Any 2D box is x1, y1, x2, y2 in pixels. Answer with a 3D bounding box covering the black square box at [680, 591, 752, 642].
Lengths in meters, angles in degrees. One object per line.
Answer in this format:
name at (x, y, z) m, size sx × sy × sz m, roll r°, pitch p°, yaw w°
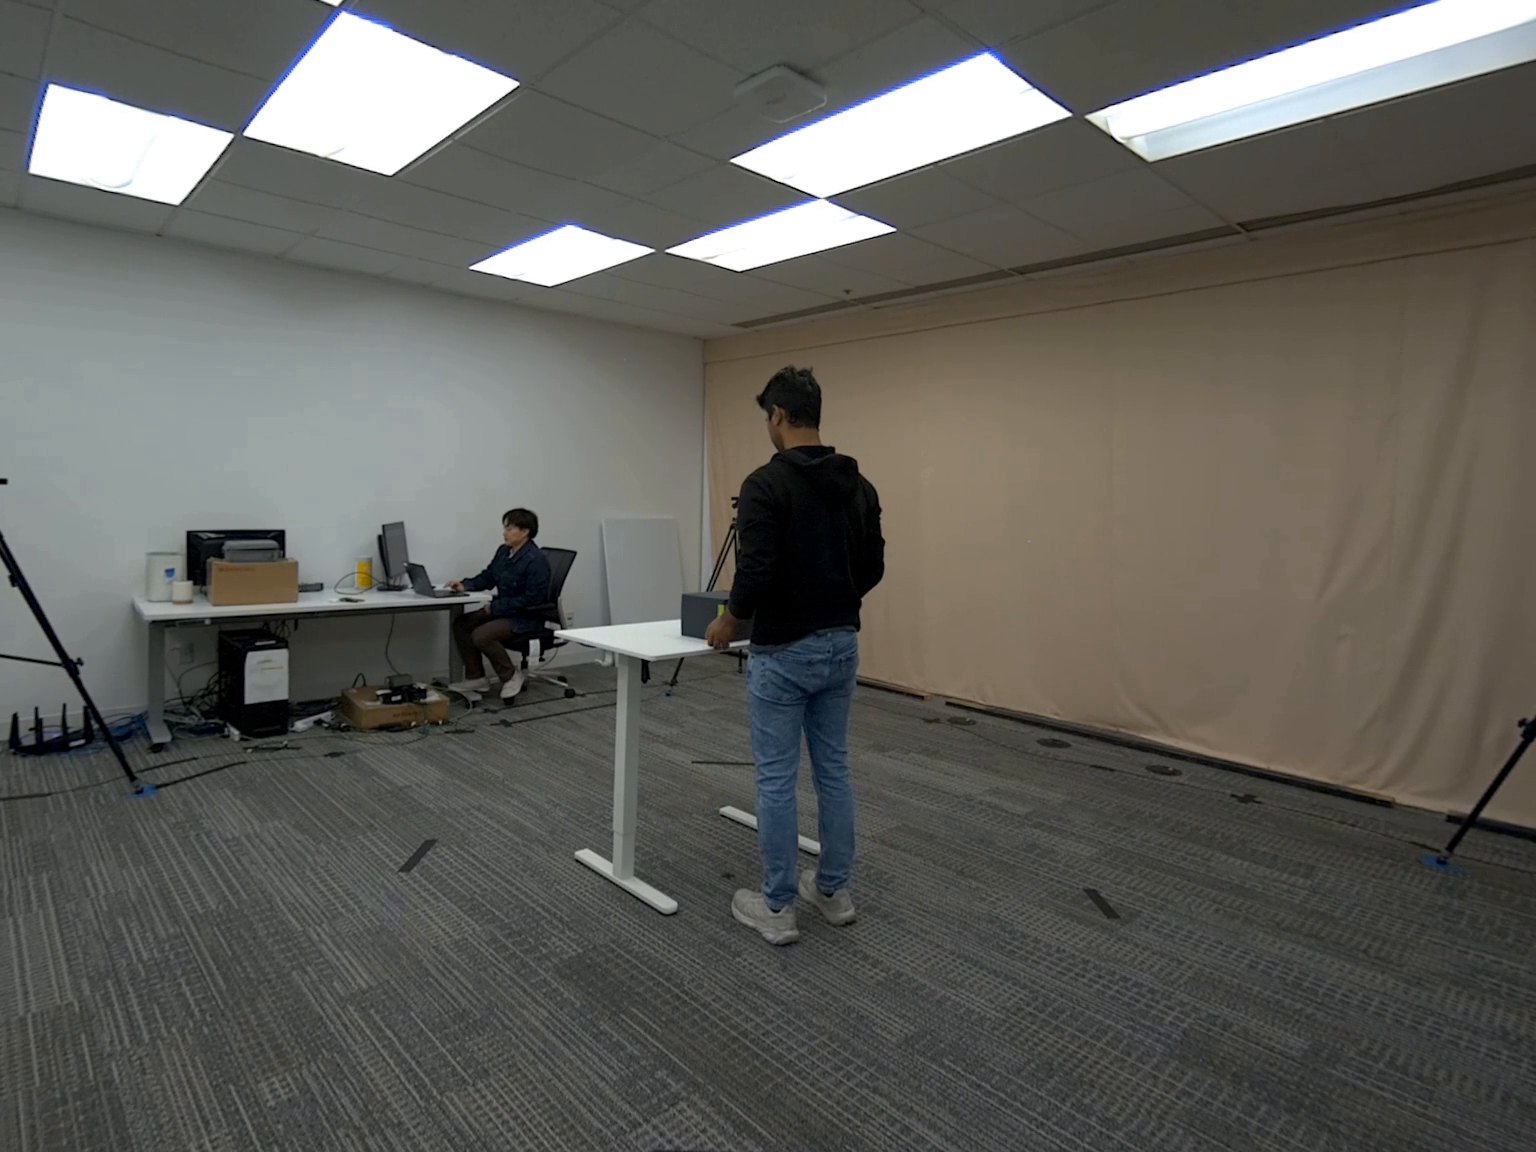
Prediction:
black square box at (-0.173, 0.145, 3.110) m, size 0.222 × 0.155 × 0.223 m, roll 5°, pitch 6°, yaw 38°
